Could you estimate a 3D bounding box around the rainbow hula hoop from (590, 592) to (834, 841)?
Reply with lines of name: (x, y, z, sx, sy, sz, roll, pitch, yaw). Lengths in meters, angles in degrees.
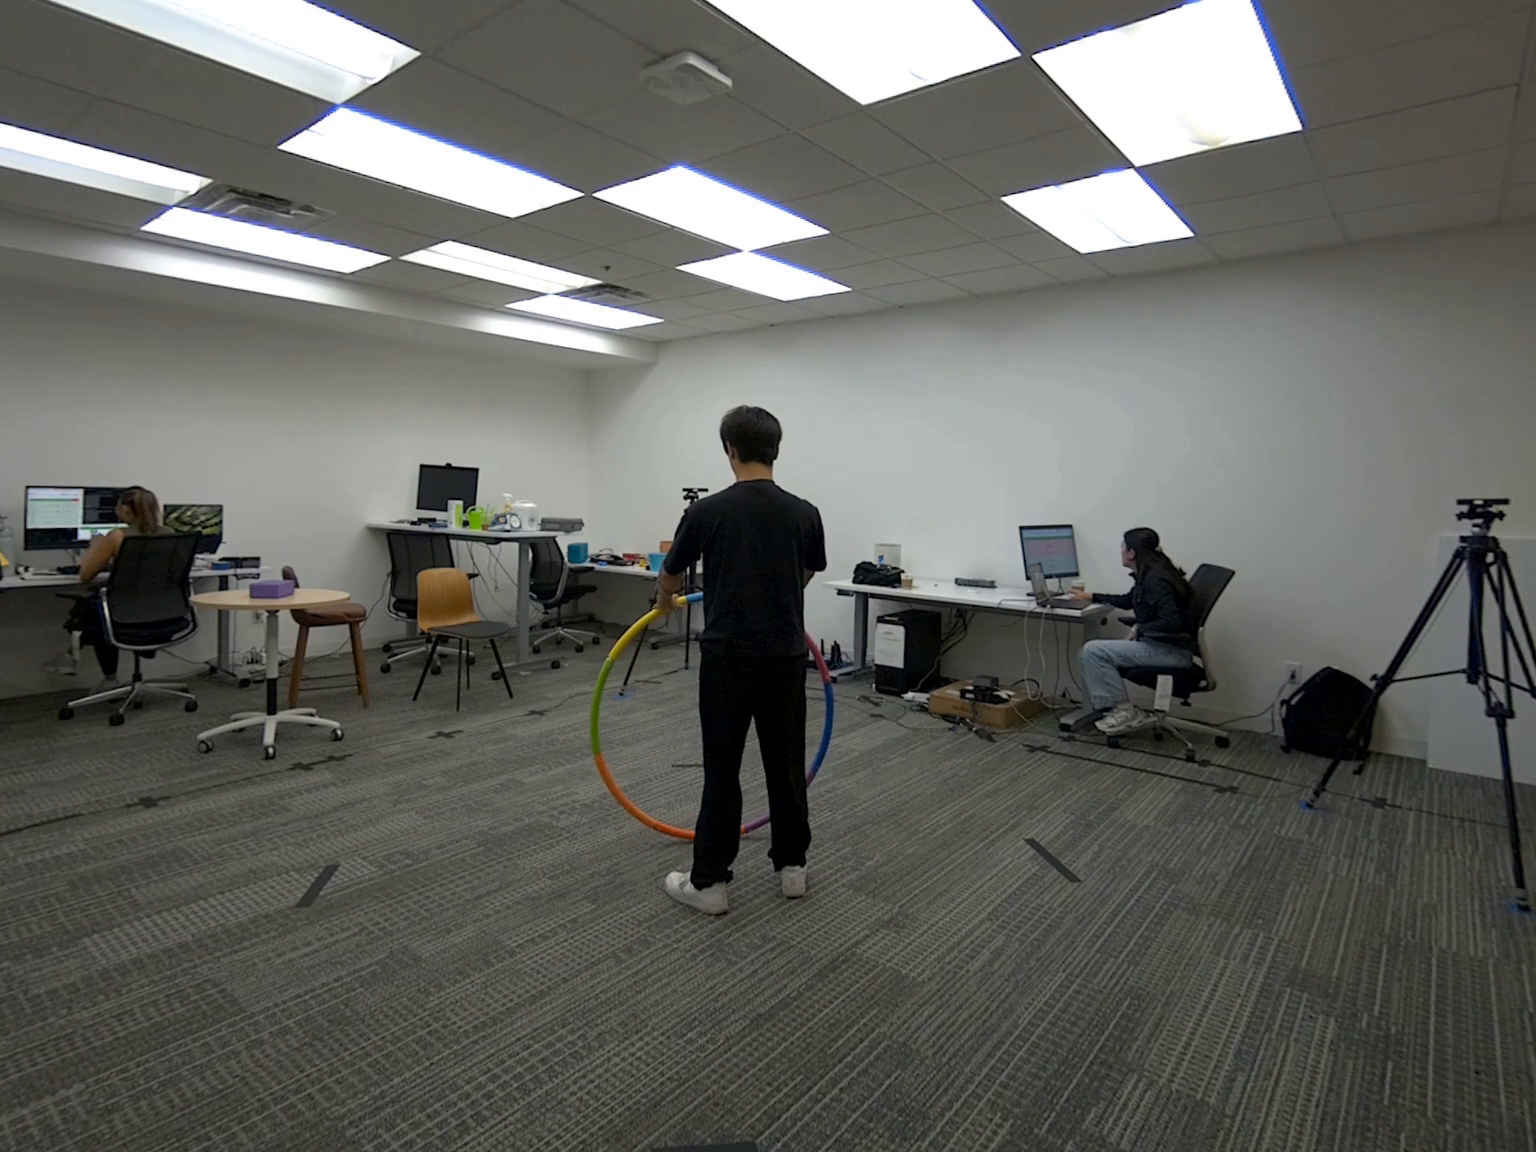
rainbow hula hoop: (-0.221, 0.561, 3.344, 0.966, 0.977, 0.036, 0, 2, -12)
